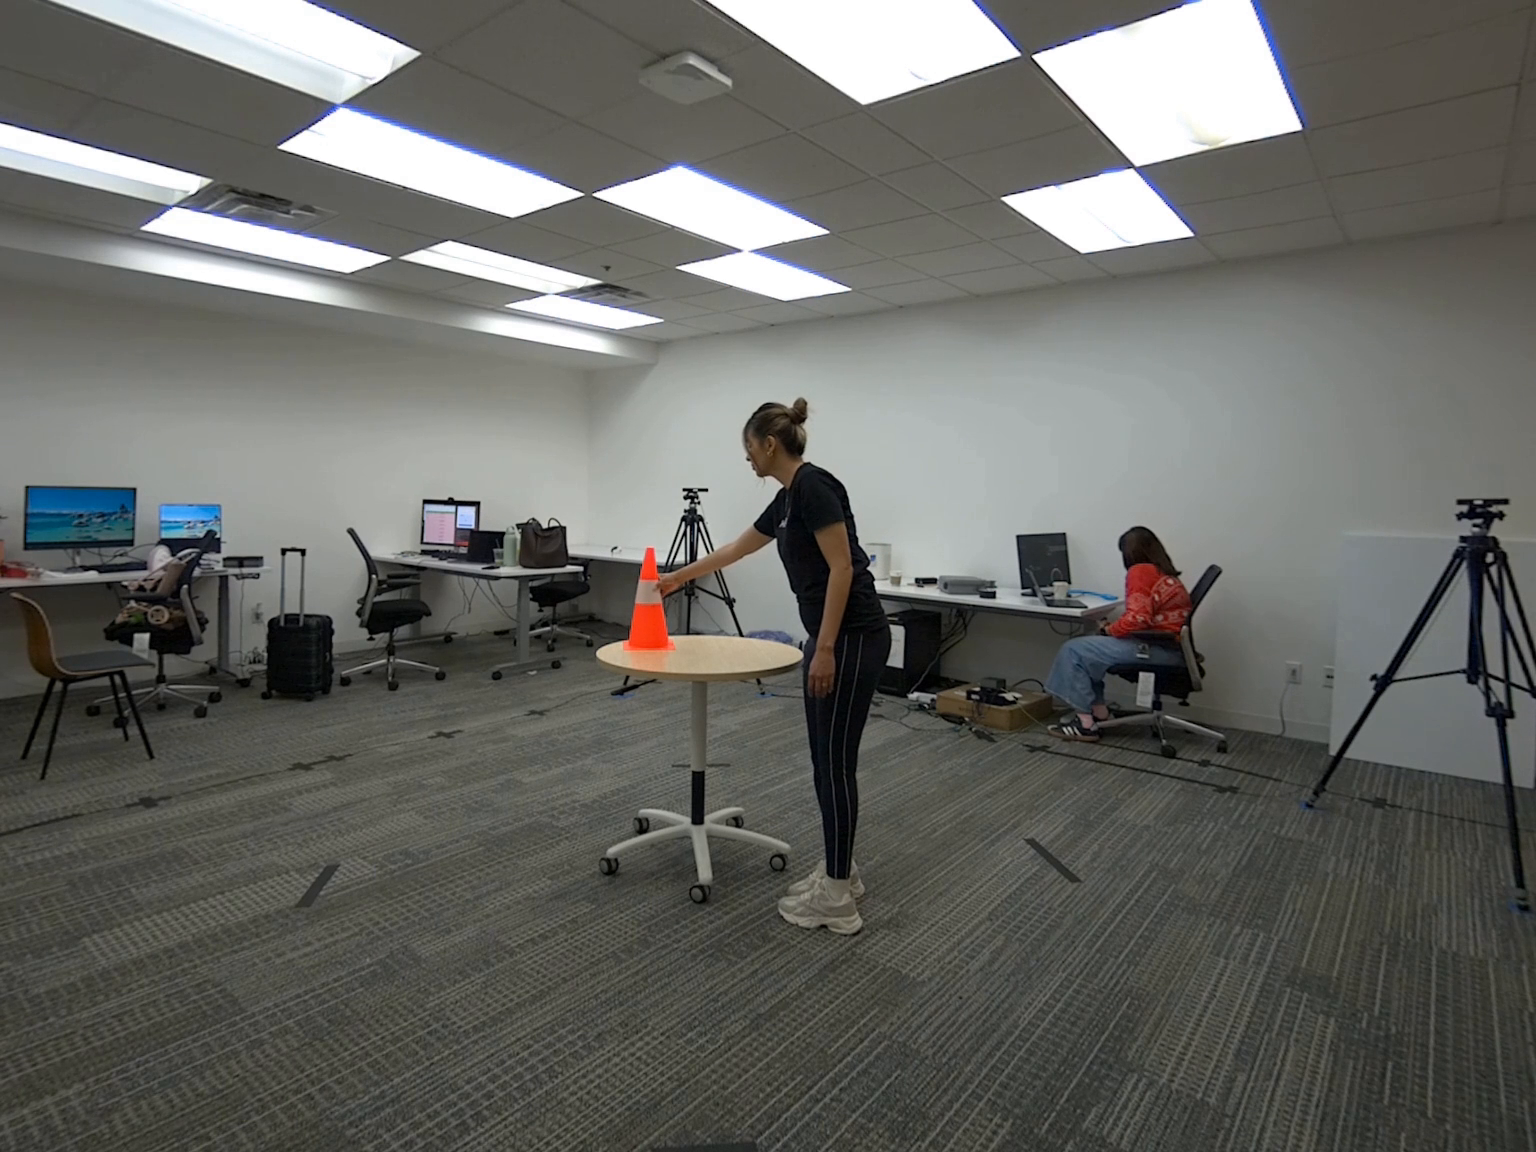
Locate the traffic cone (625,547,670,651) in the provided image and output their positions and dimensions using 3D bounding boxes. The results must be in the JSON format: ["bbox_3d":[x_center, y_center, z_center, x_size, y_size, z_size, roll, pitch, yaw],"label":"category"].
[{"bbox_3d":[-0.473,0.082,3.284,0.202,0.383,0.206,0,3,-12],"label":"traffic cone"}]
